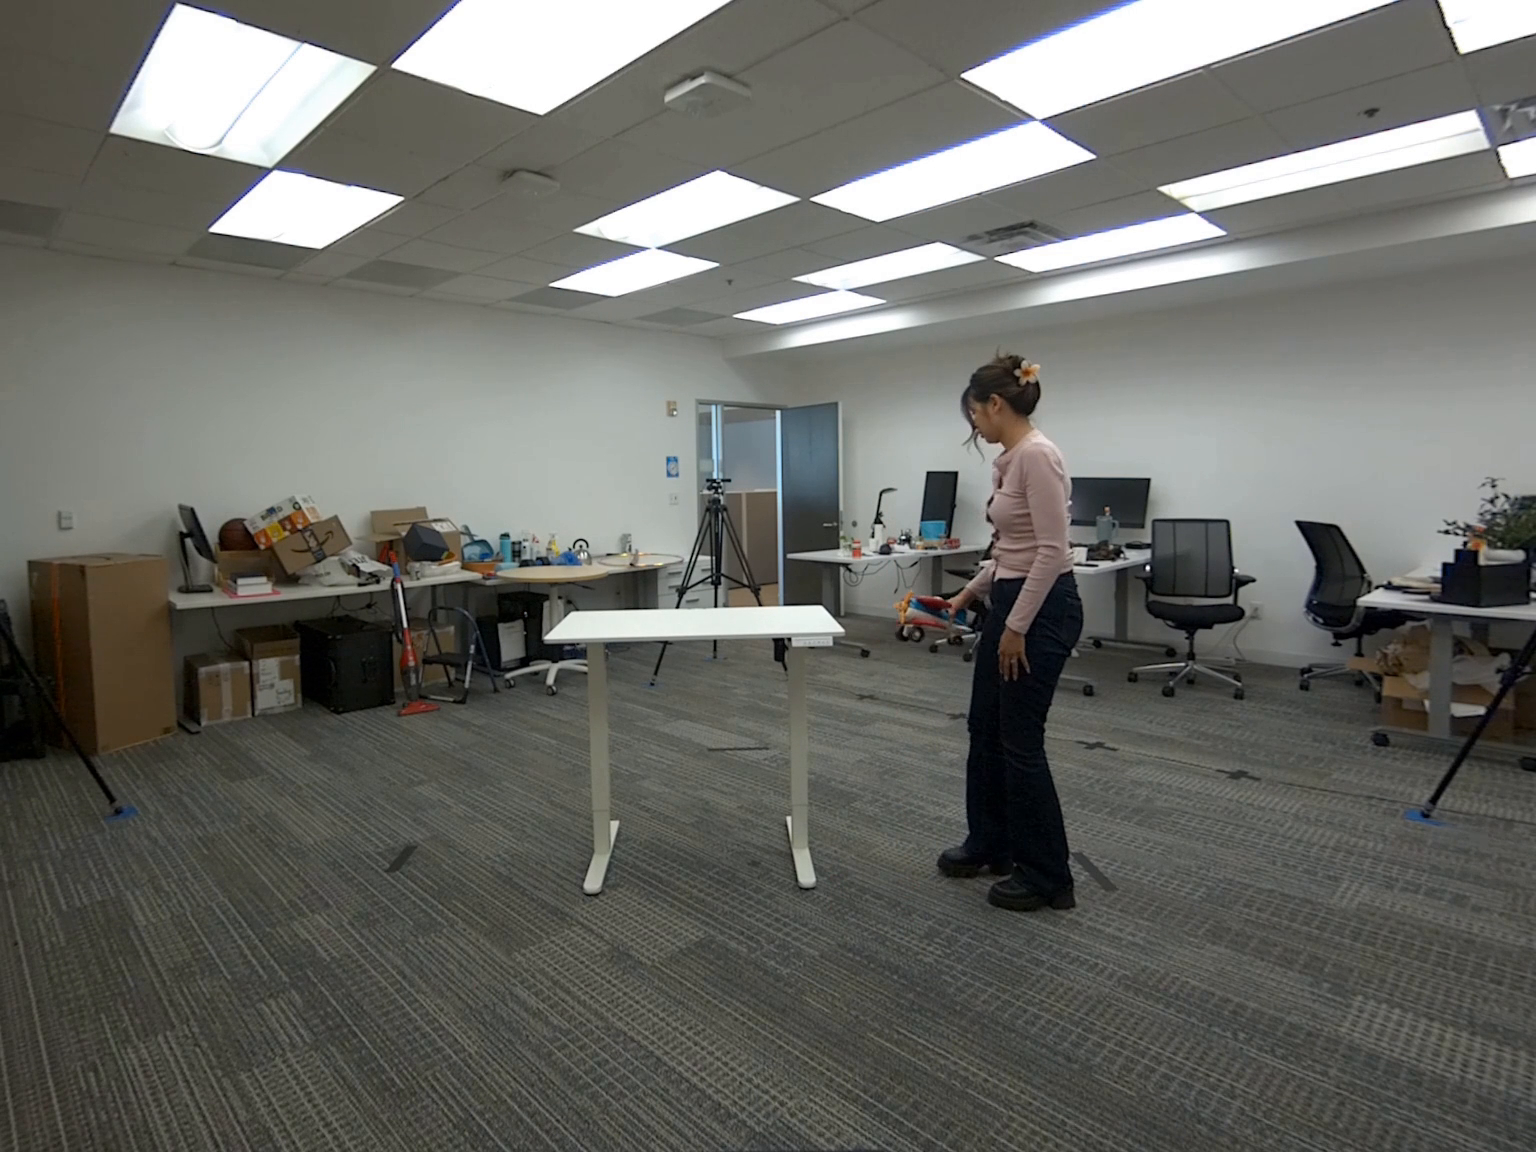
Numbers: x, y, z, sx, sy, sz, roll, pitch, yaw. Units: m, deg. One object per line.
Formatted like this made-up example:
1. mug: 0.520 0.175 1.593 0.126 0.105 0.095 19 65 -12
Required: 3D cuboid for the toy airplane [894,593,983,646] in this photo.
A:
1. toy airplane: 0.555 0.152 2.945 0.258 0.157 0.251 1 -5 45
